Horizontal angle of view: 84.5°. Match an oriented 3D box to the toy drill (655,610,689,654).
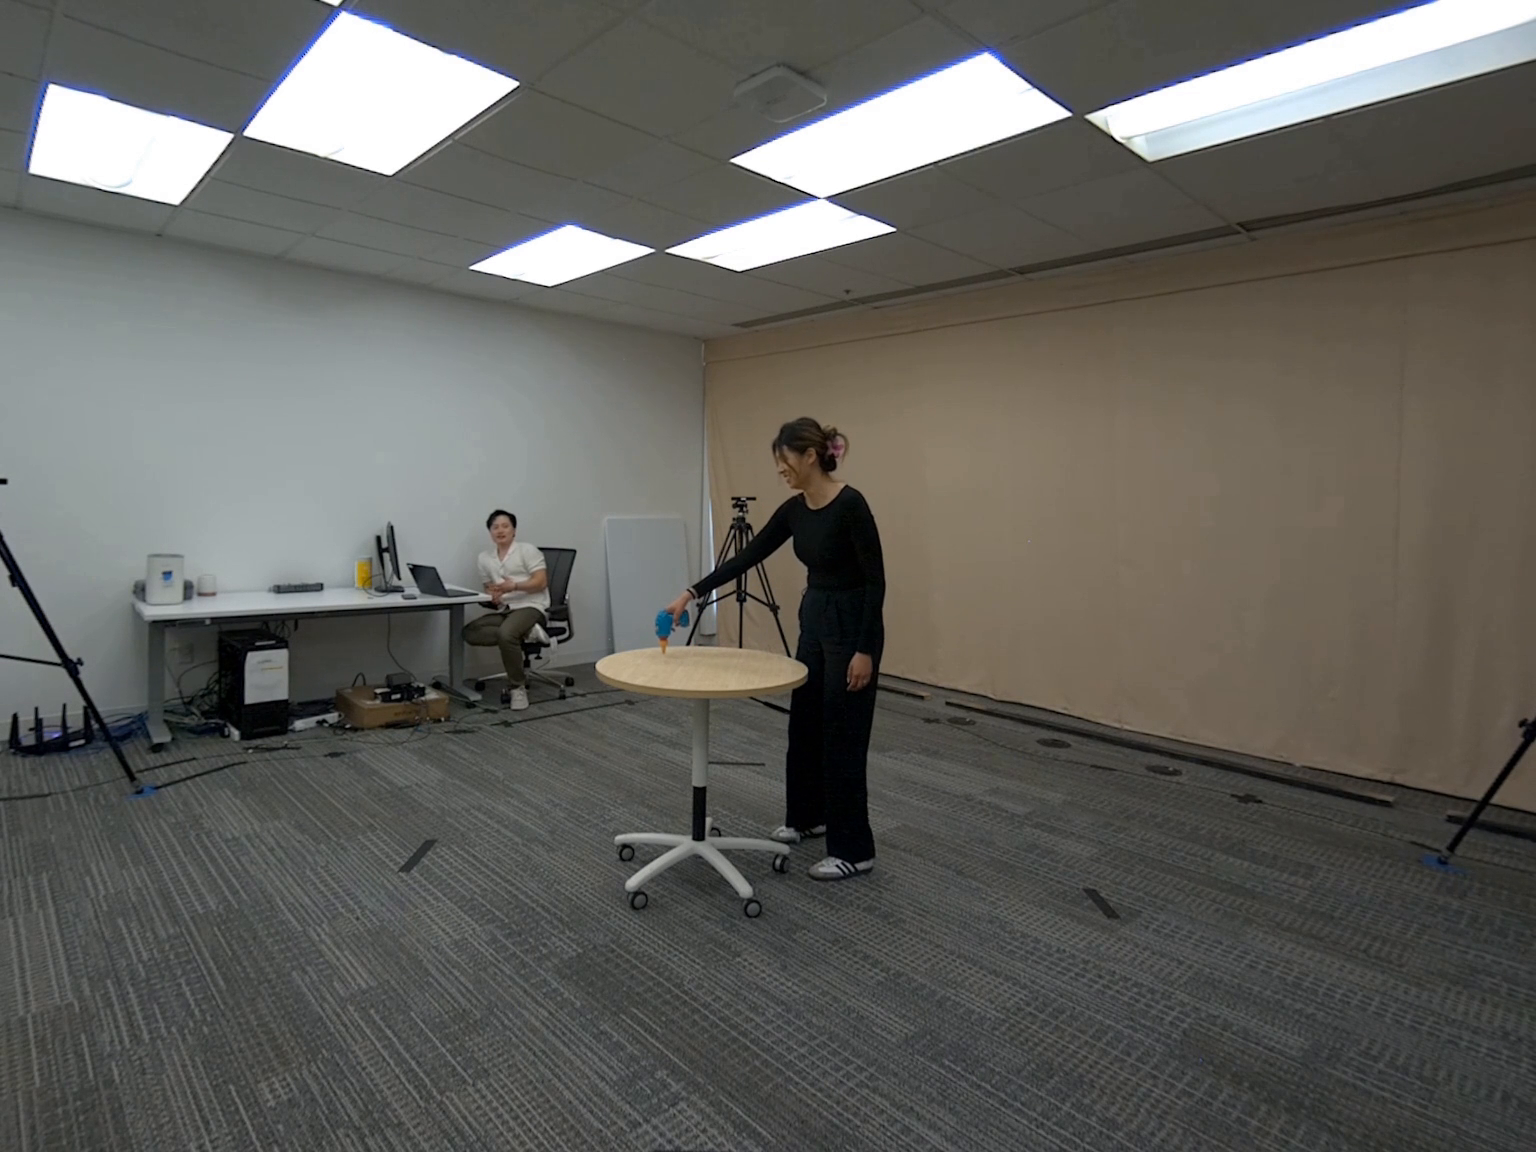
[{"bbox_3d":[-0.372,0.207,3.220,0.143,0.169,0.063,-8,8,-43],"label":"toy drill"}]
